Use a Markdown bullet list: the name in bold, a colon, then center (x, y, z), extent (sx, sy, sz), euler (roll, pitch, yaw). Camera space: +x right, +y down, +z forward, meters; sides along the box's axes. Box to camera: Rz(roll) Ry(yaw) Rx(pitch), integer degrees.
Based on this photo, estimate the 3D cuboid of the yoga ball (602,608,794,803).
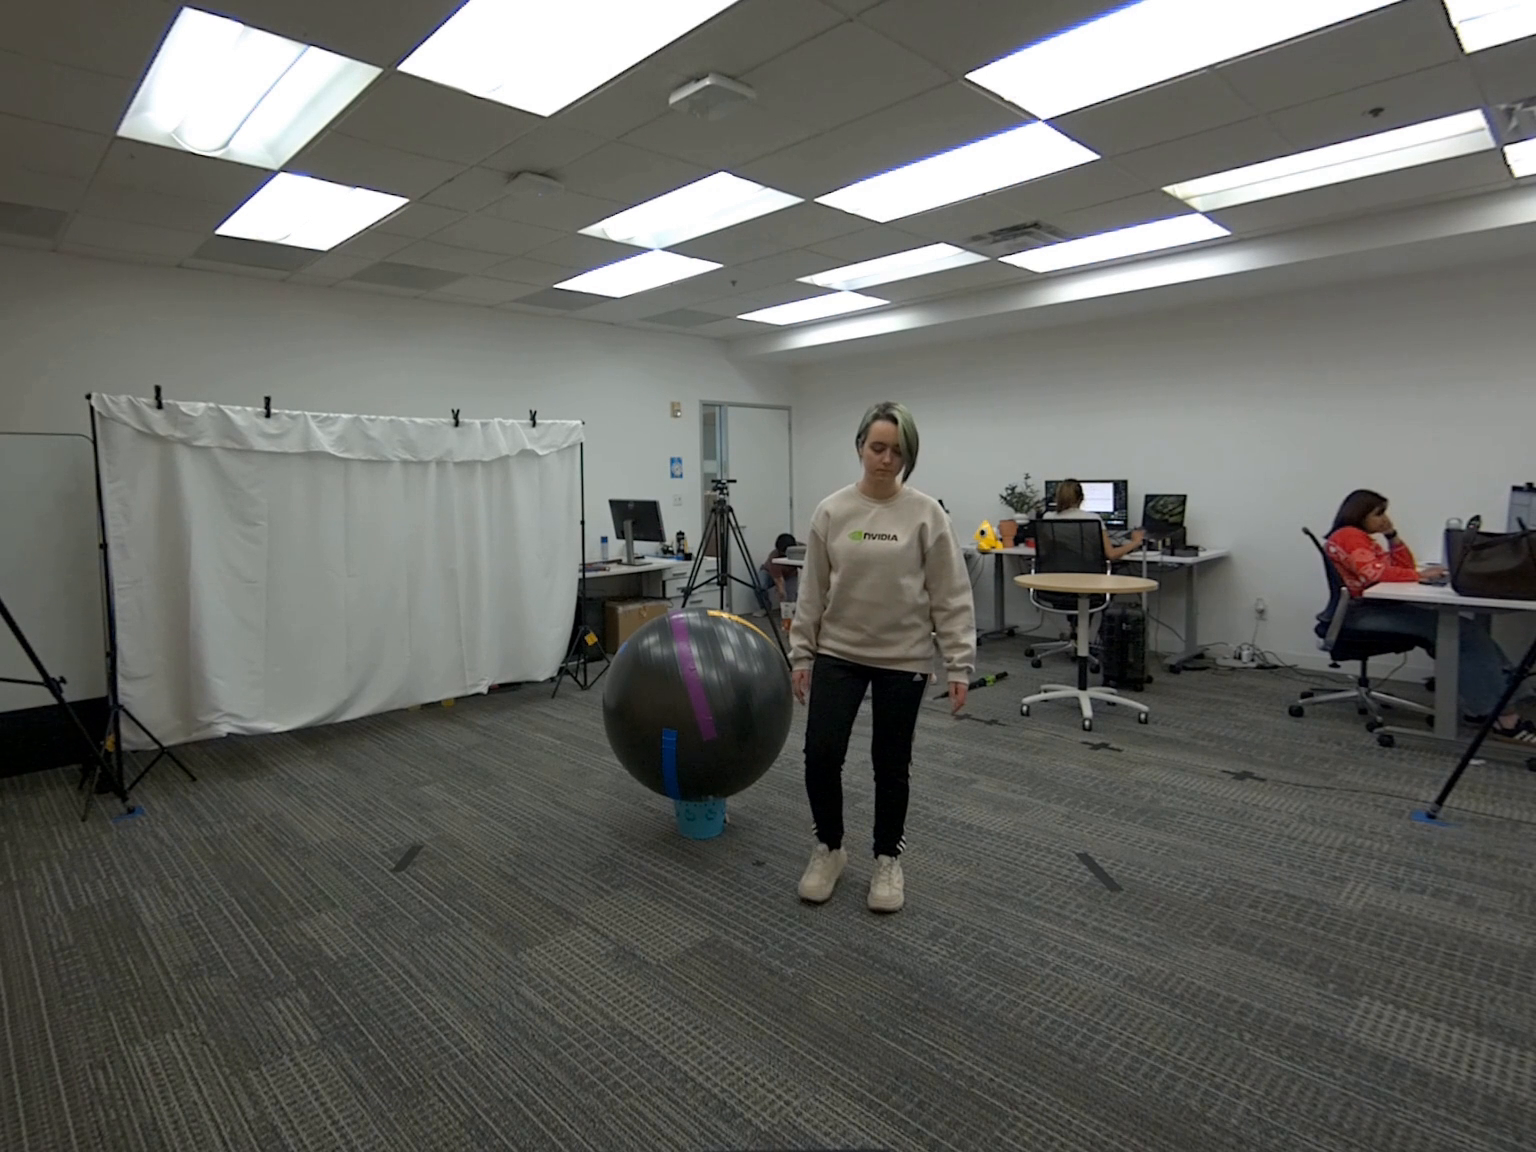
- **yoga ball**: center (-0.277, 0.509, 3.401), extent (0.757, 0.755, 0.762), euler (-1, 5, -2)
